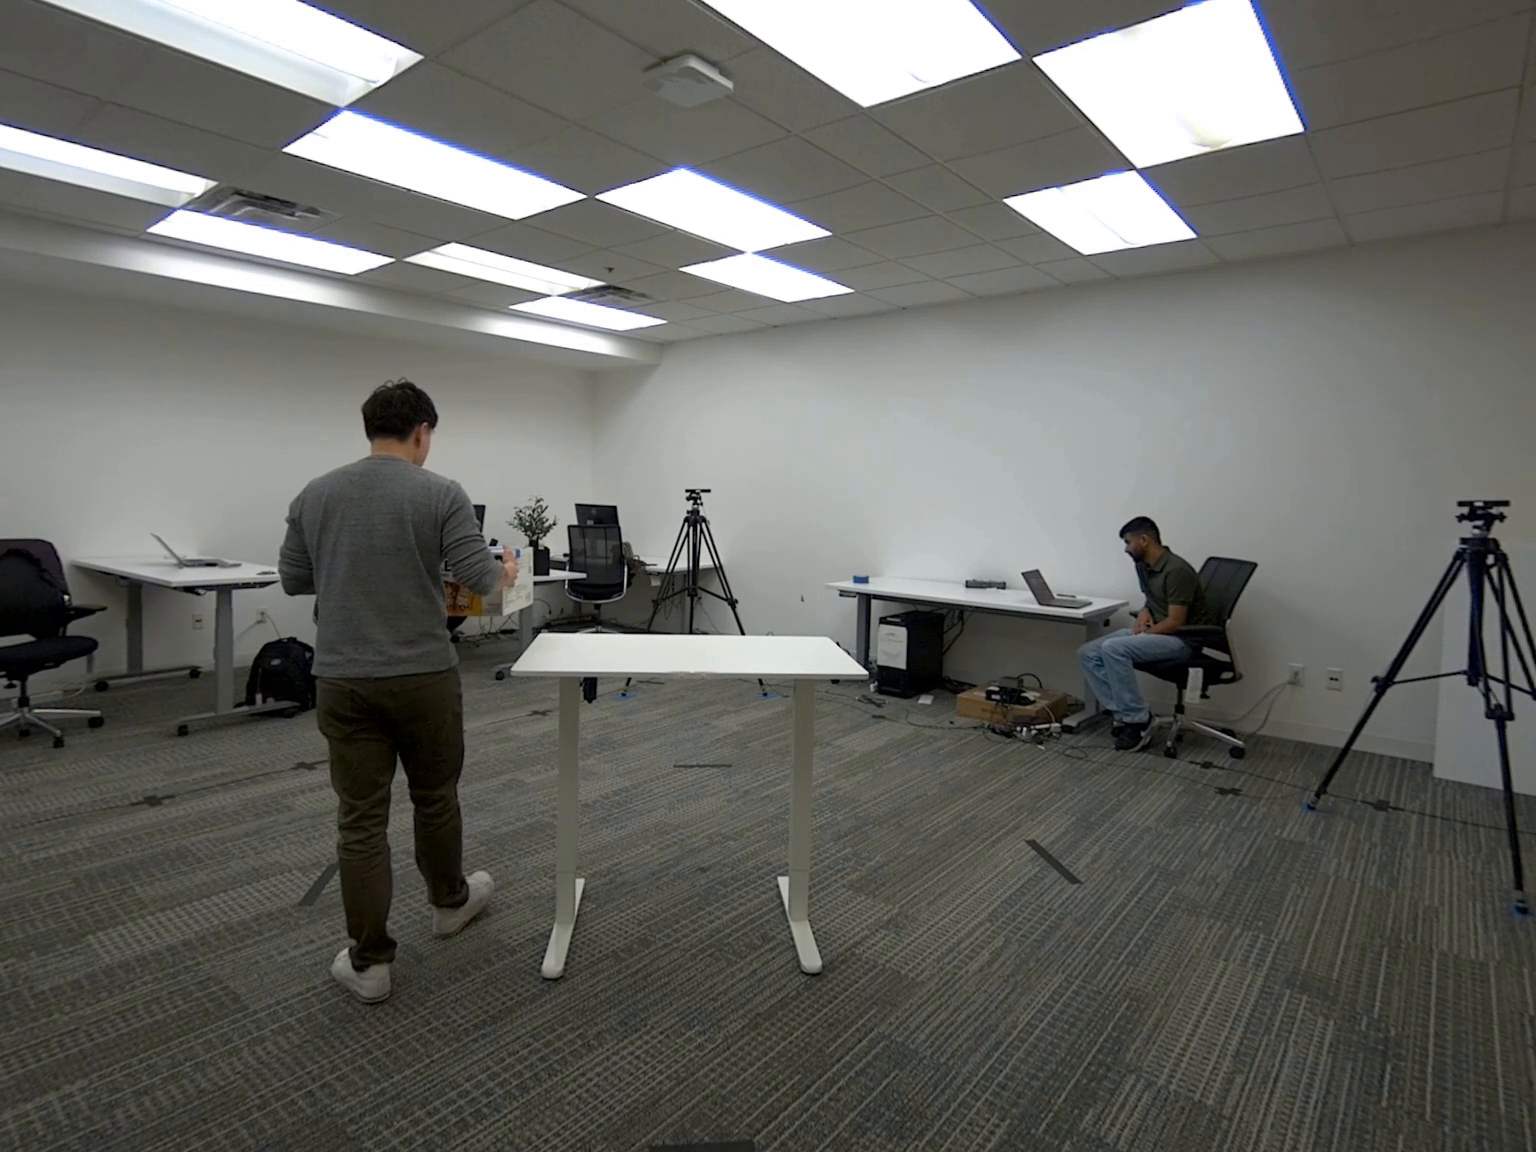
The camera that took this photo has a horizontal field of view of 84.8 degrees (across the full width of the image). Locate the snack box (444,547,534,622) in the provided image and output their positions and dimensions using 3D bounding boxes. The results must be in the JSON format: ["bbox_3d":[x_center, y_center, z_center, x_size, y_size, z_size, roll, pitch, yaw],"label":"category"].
[{"bbox_3d":[-1.029,0.017,2.787,0.406,0.205,0.341,0,5,2],"label":"snack box"}]
